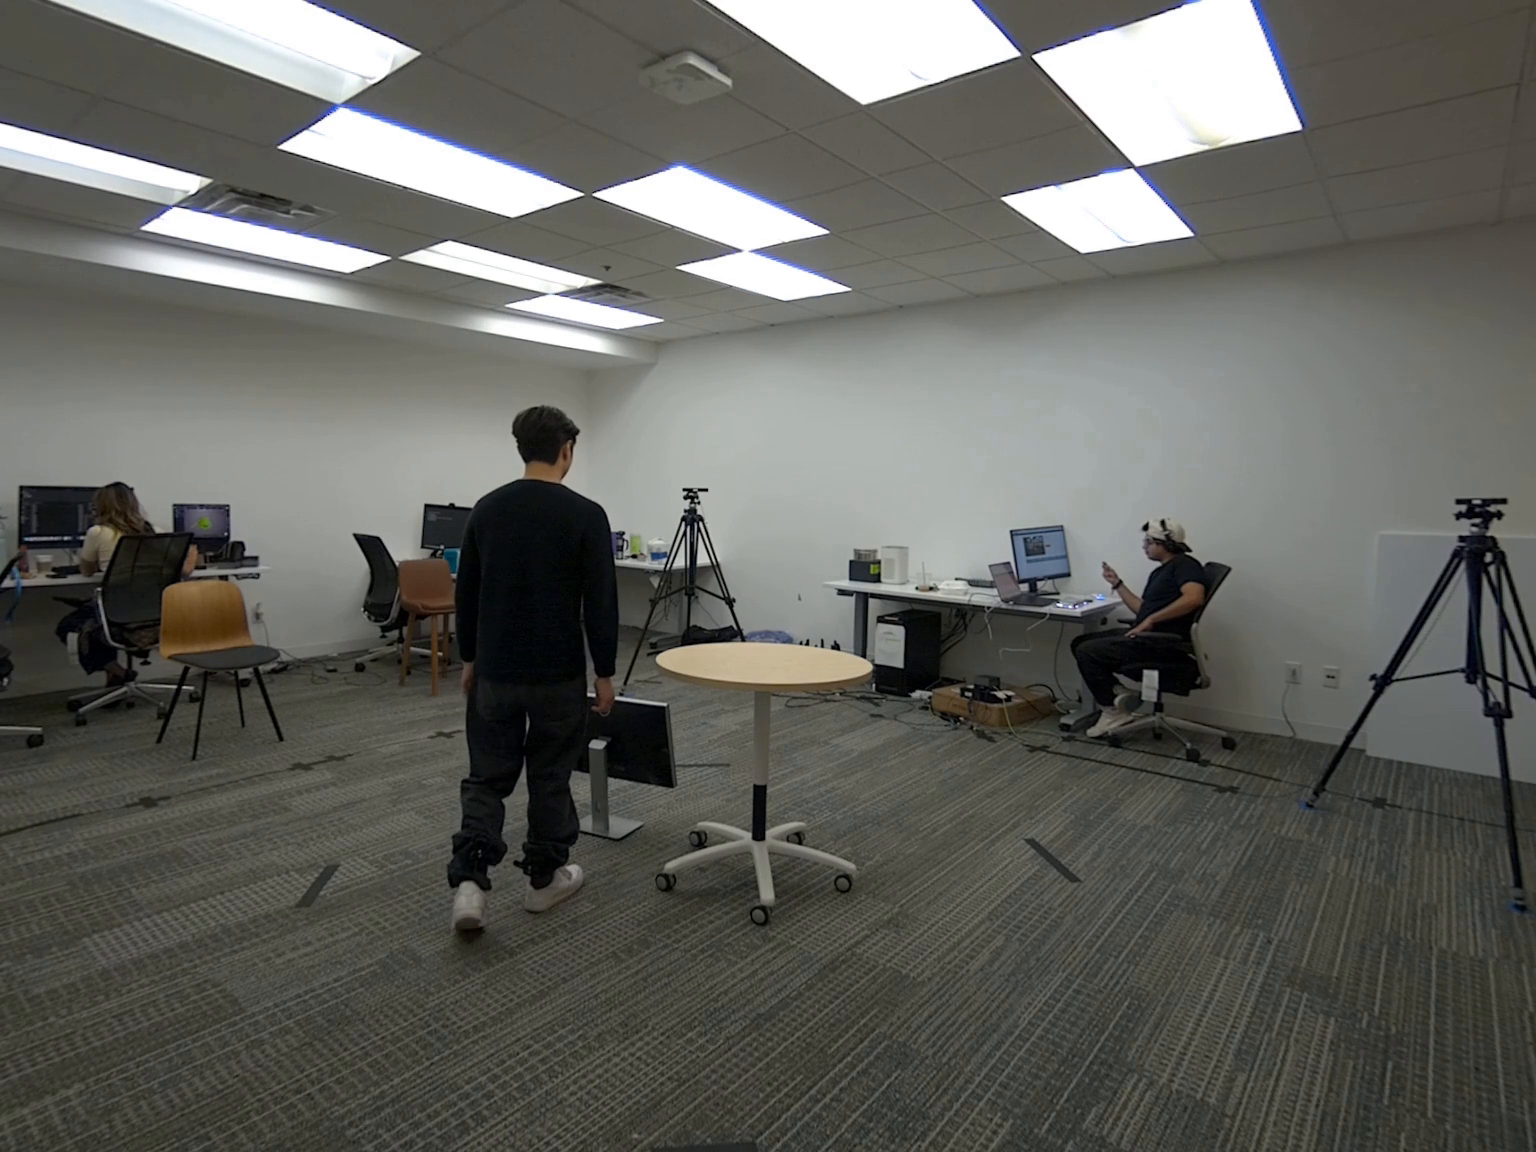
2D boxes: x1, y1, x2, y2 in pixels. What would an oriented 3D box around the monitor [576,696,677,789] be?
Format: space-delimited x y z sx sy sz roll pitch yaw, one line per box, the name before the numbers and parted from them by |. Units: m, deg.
monitor | -0.666 0.761 3.470 0.552 0.522 0.183 3 1 24
